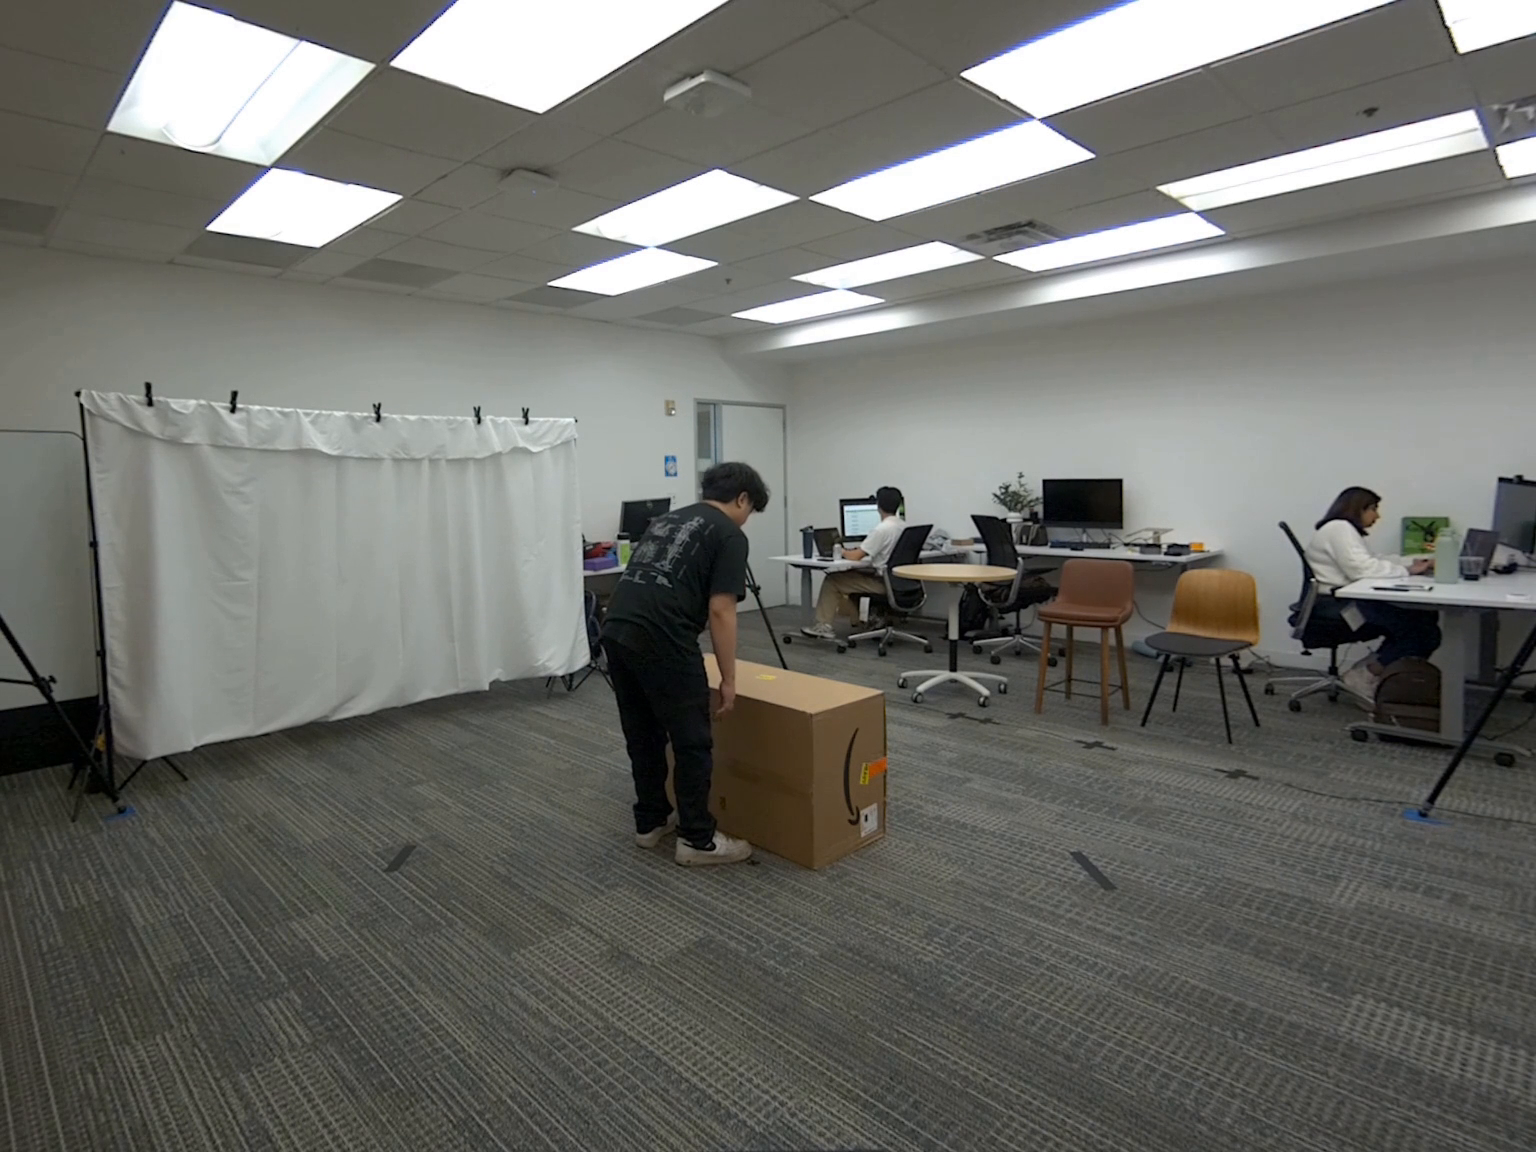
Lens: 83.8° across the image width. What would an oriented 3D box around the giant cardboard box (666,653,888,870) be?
[{"bbox_3d":[-0.054,0.709,3.532,0.435,0.582,1.059,-4,7,-44],"label":"giant cardboard box"}]
